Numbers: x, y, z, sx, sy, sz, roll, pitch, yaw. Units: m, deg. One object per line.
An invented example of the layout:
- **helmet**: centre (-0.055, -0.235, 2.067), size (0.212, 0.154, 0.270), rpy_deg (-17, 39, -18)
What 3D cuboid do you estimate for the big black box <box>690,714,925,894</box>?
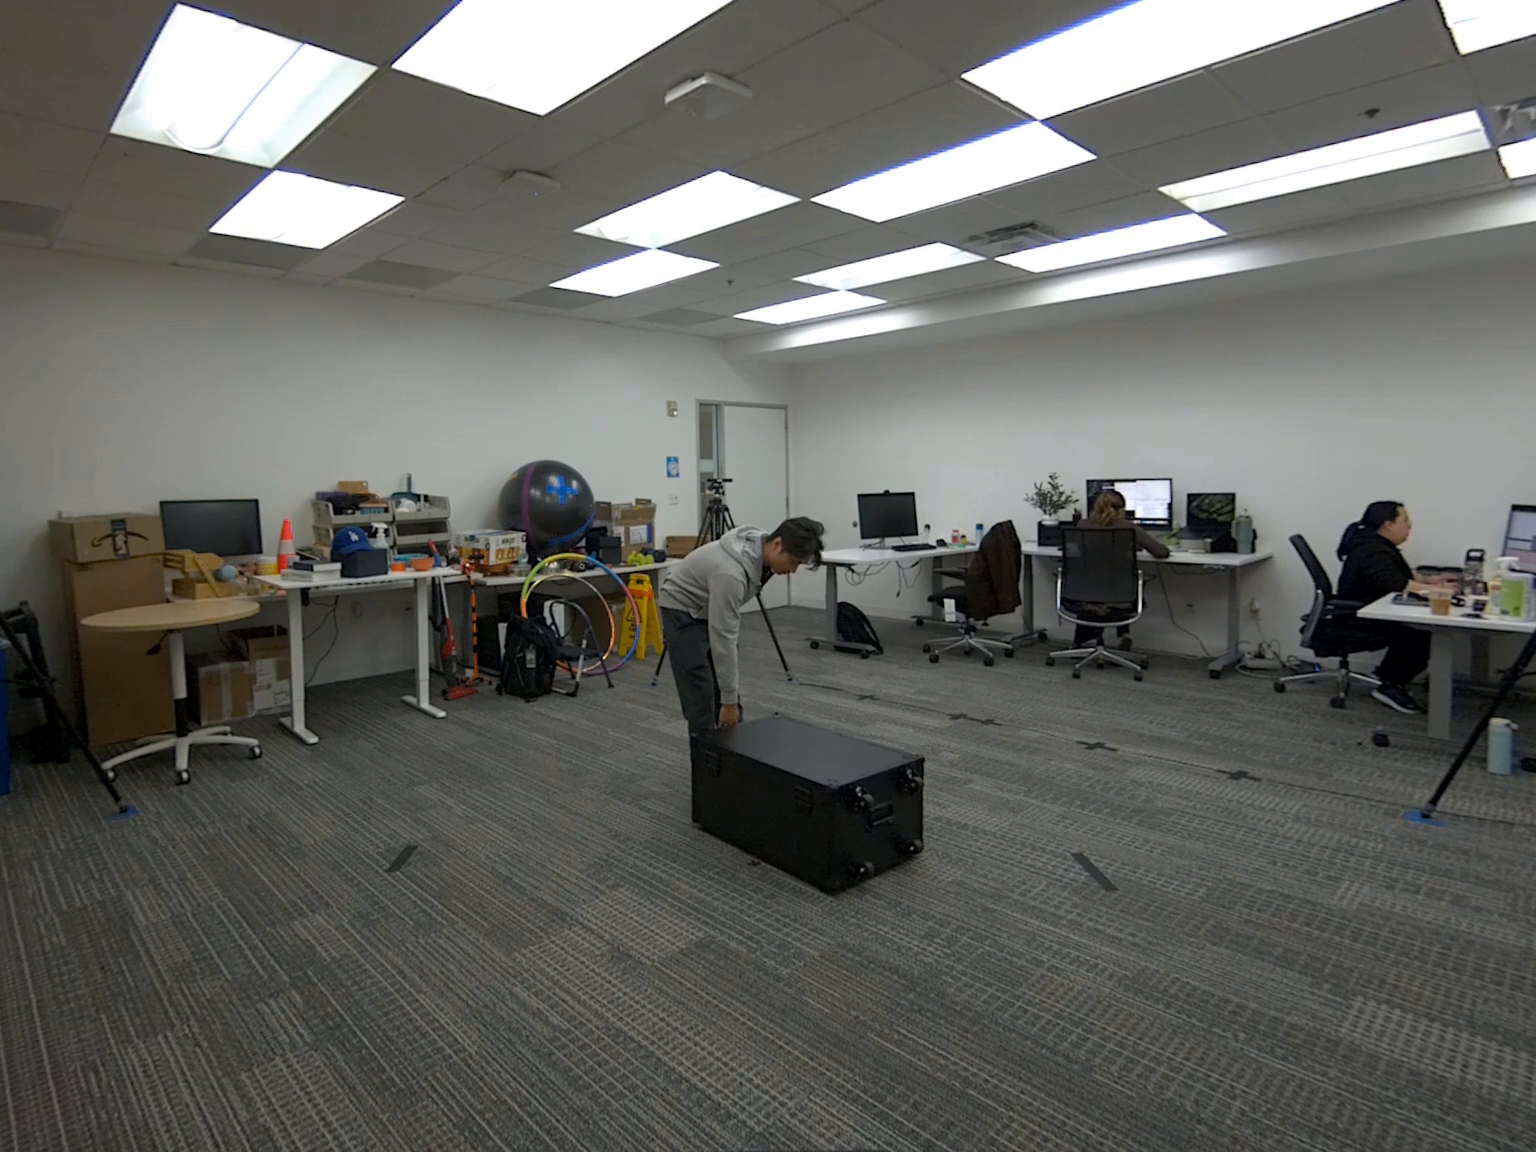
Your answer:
- **big black box**: centre (0.150, 0.836, 3.245), size (0.508, 0.395, 0.888), rpy_deg (-6, 7, -41)
